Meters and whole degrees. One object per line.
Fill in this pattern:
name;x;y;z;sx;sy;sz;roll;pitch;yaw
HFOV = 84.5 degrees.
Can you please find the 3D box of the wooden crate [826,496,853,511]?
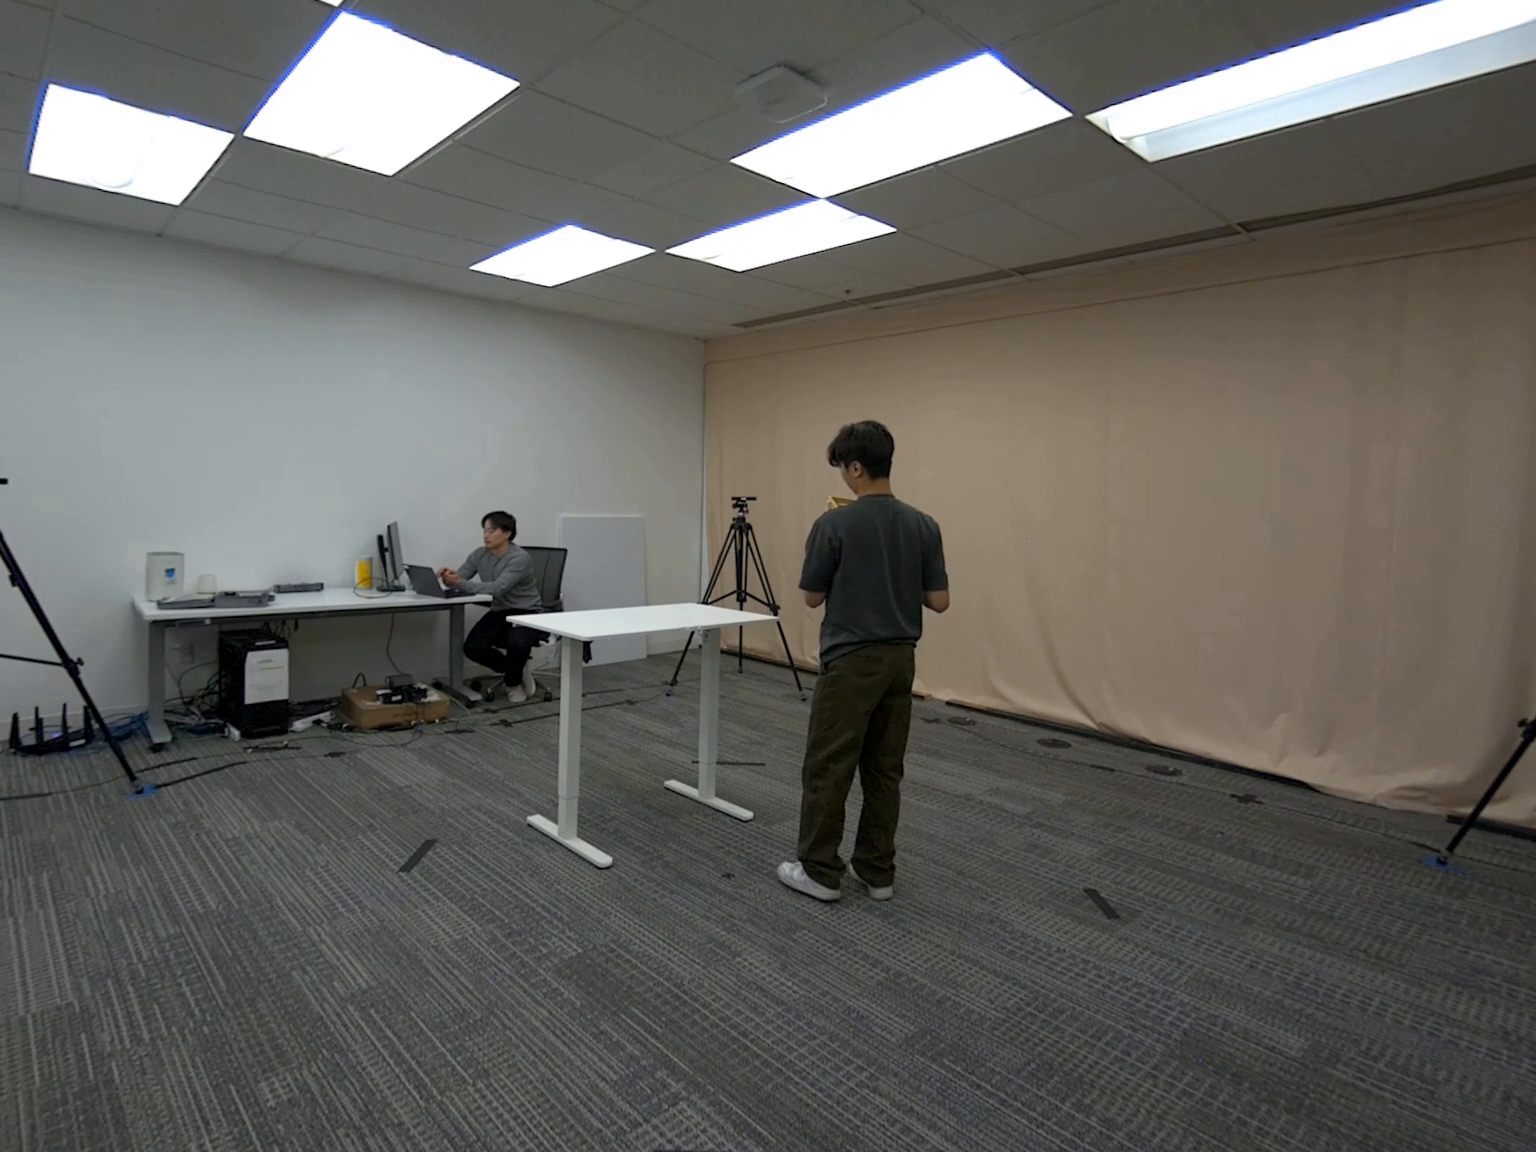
wooden crate;0.383;-0.129;3.244;0.322;0.270;0.307;8;19;-8
